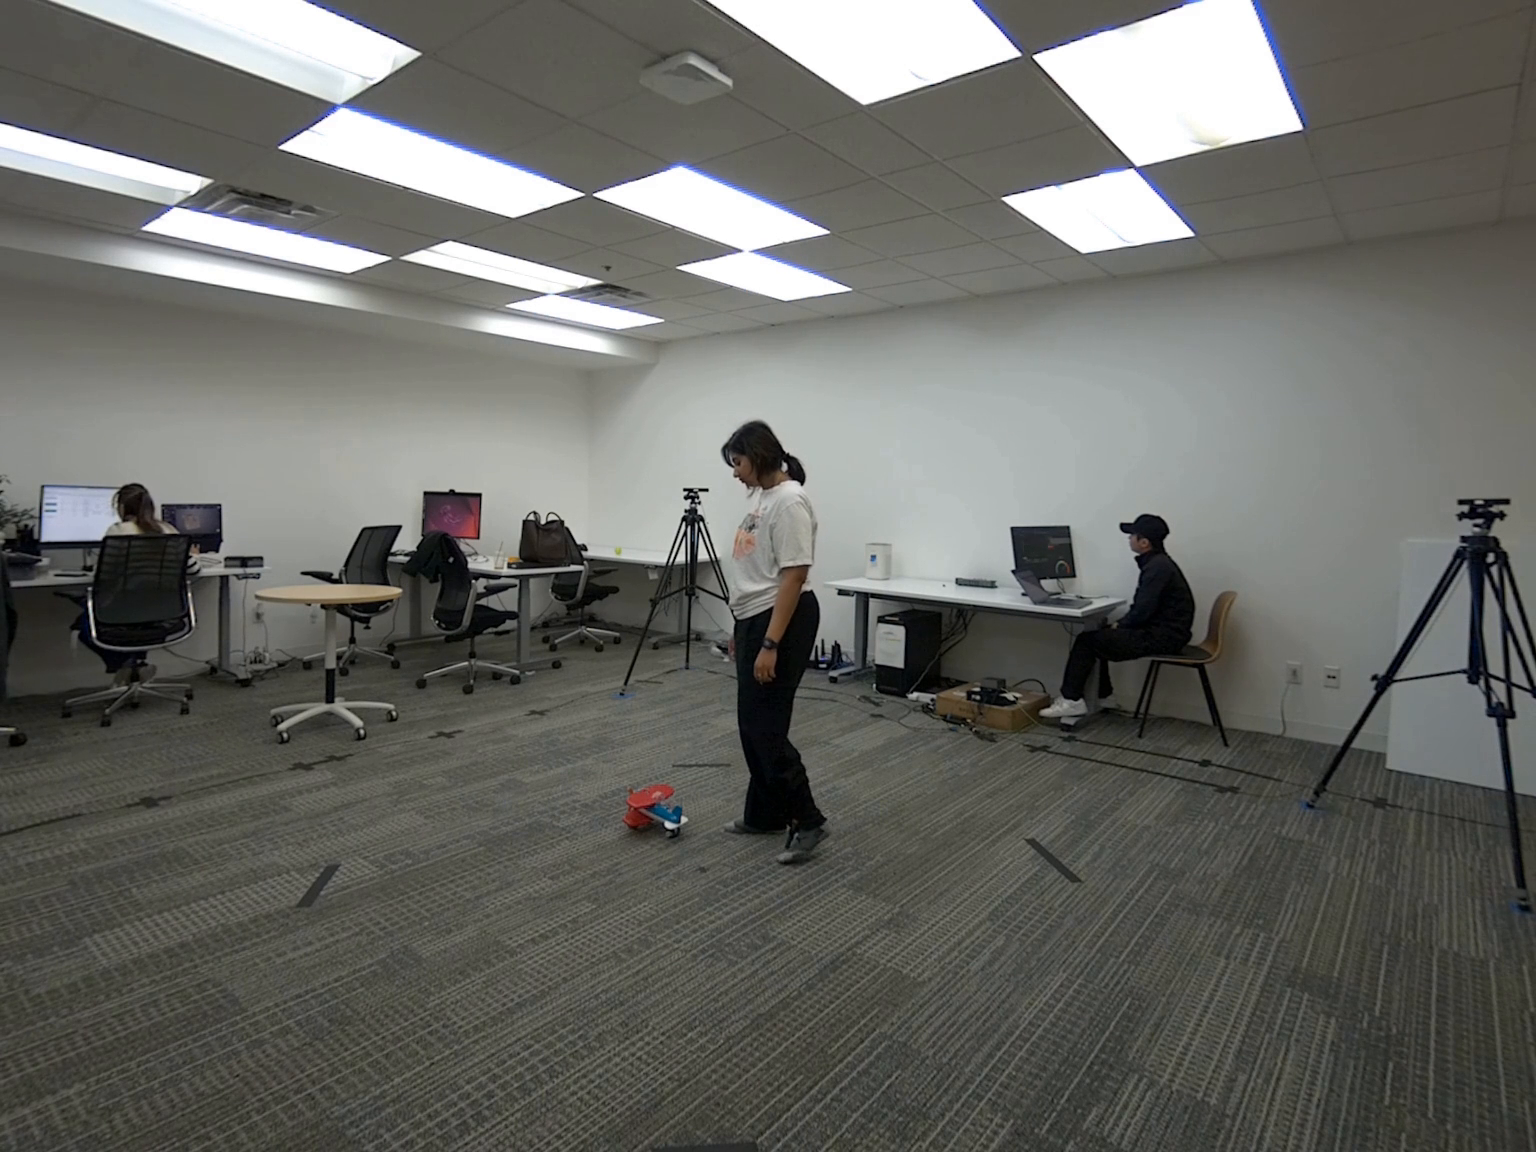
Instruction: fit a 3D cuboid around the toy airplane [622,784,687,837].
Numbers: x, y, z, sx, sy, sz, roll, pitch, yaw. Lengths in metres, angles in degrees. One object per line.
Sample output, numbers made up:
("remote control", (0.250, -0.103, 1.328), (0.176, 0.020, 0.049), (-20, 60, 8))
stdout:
("toy airplane", (-0.461, 0.955, 3.474), (0.261, 0.156, 0.250), (0, 4, 6))
